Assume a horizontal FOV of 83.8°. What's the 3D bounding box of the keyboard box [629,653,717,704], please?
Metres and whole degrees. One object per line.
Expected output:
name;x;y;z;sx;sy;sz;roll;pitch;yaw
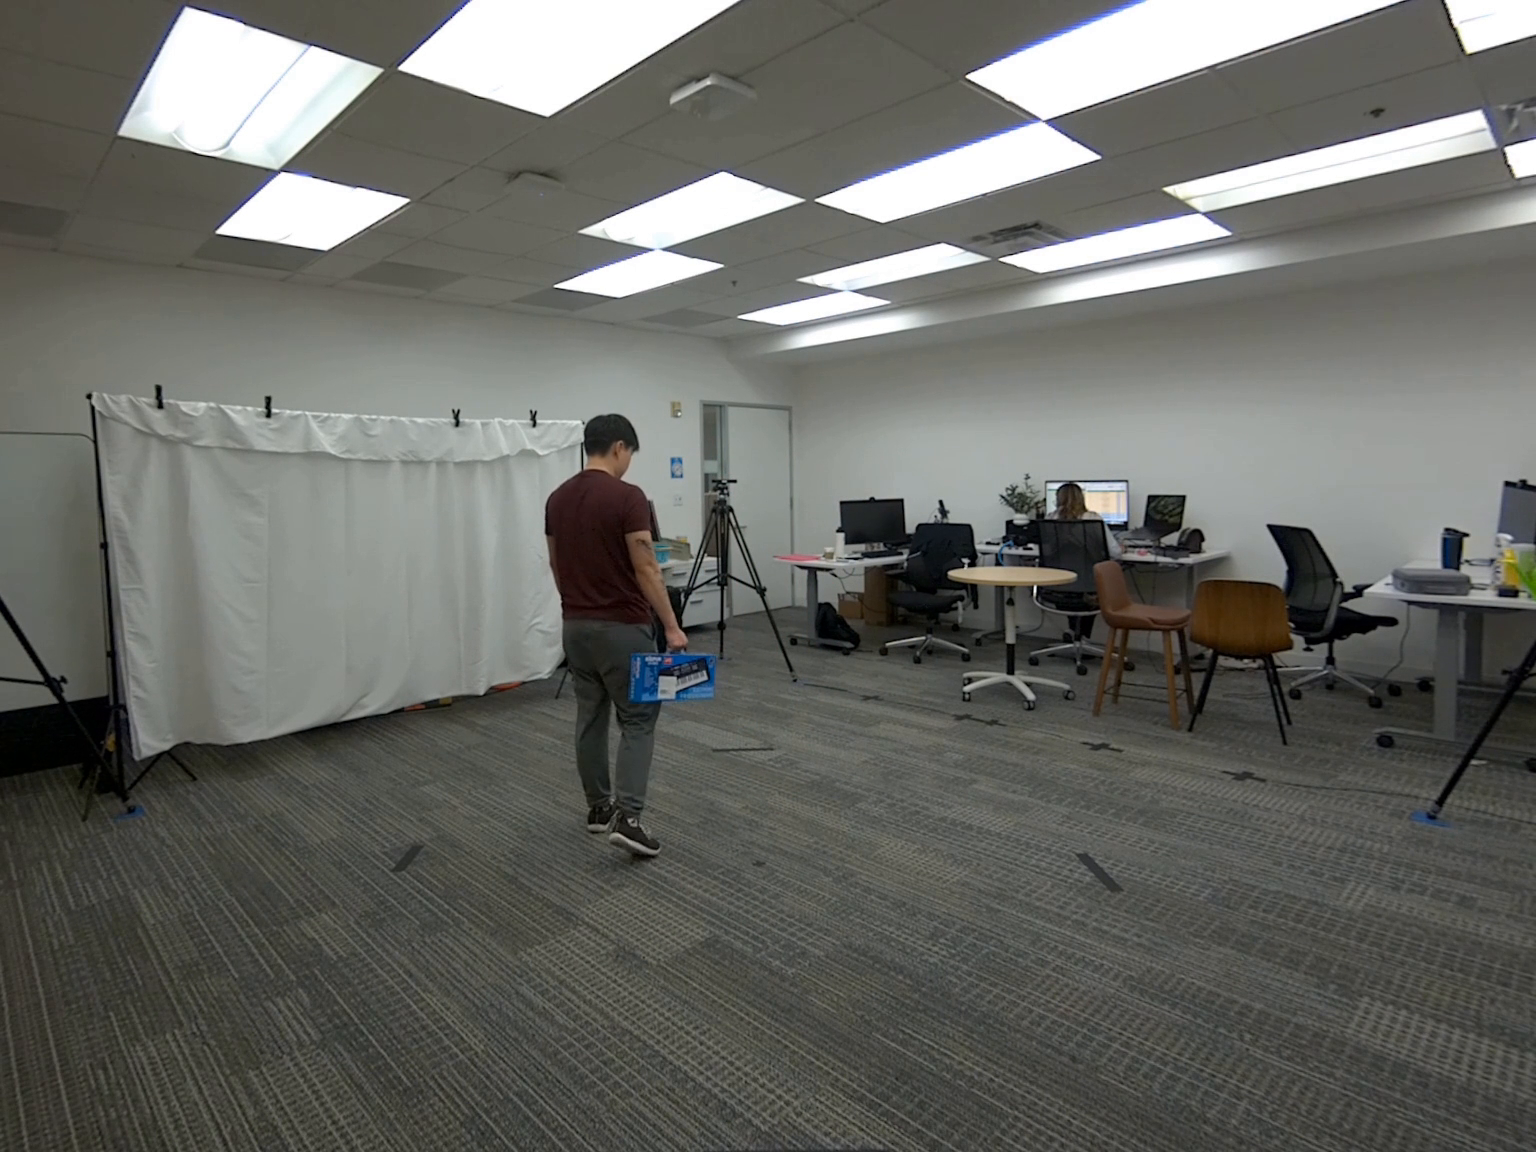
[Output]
keyboard box;-0.356;0.384;3.250;0.061;0.177;0.423;-1;-5;34
